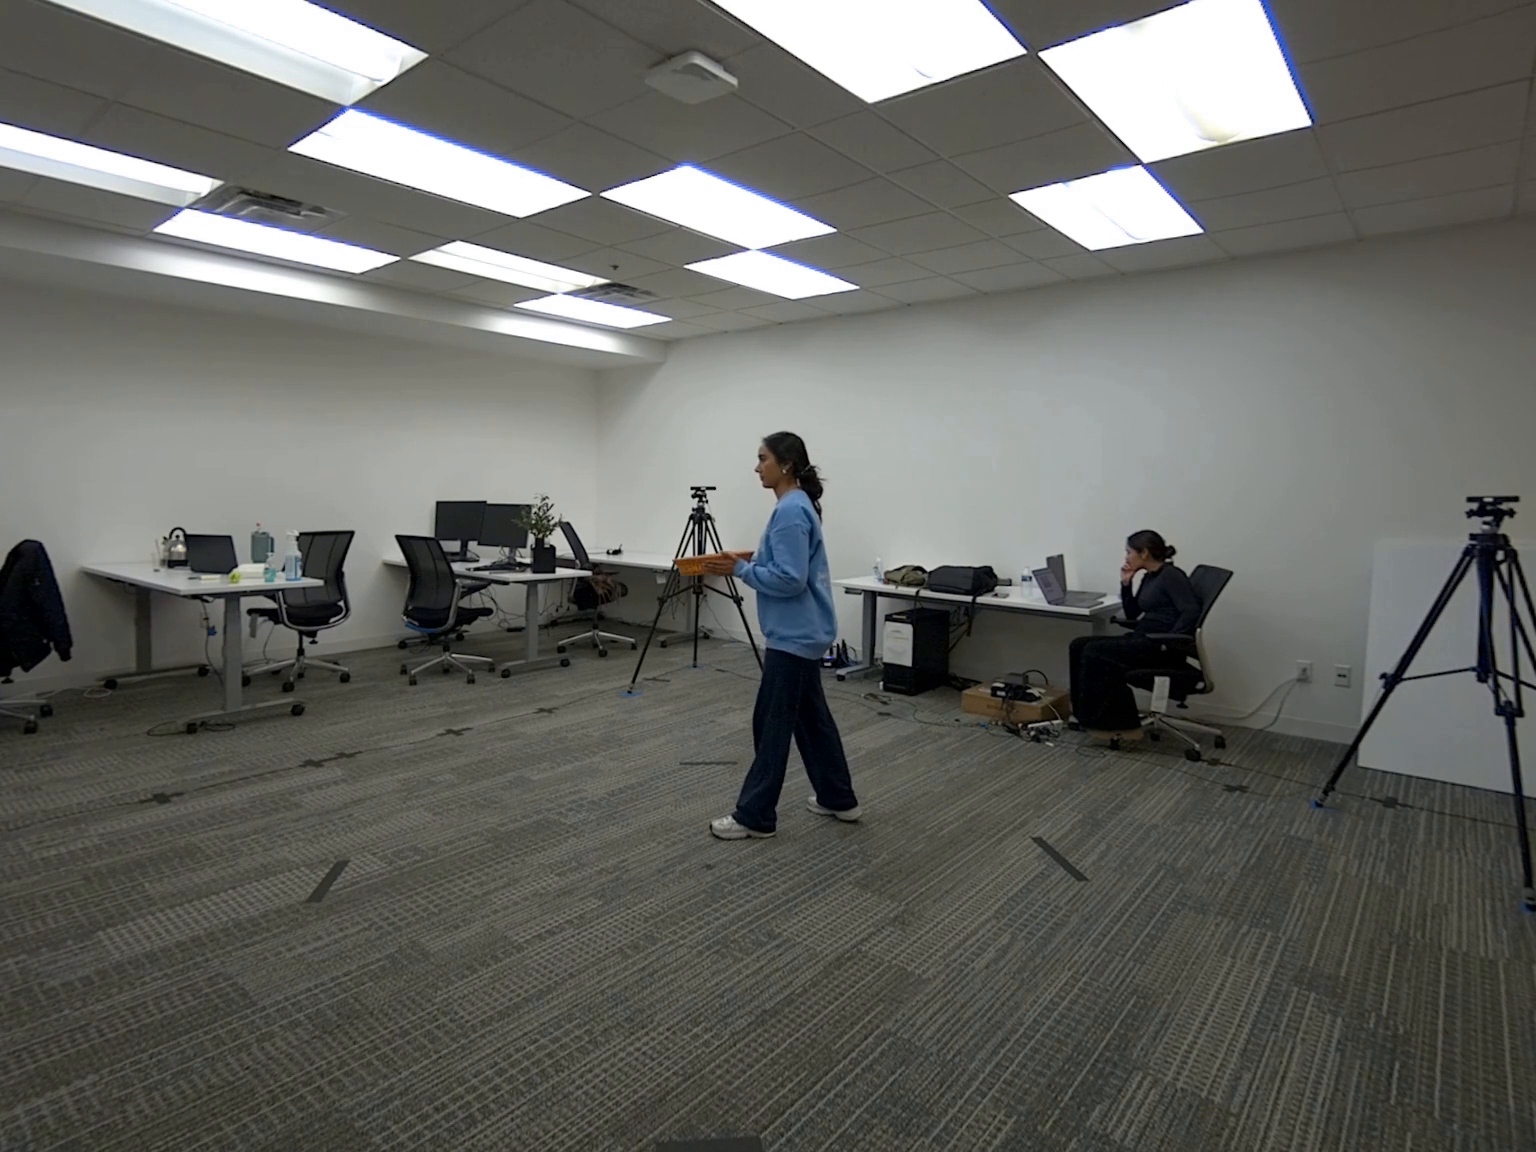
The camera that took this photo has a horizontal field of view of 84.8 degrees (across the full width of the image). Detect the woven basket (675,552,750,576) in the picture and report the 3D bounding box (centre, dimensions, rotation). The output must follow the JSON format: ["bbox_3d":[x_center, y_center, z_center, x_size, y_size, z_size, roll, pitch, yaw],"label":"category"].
[{"bbox_3d":[-0.230,-0.059,3.537,0.343,0.073,0.257,-5,1,-22],"label":"woven basket"}]
